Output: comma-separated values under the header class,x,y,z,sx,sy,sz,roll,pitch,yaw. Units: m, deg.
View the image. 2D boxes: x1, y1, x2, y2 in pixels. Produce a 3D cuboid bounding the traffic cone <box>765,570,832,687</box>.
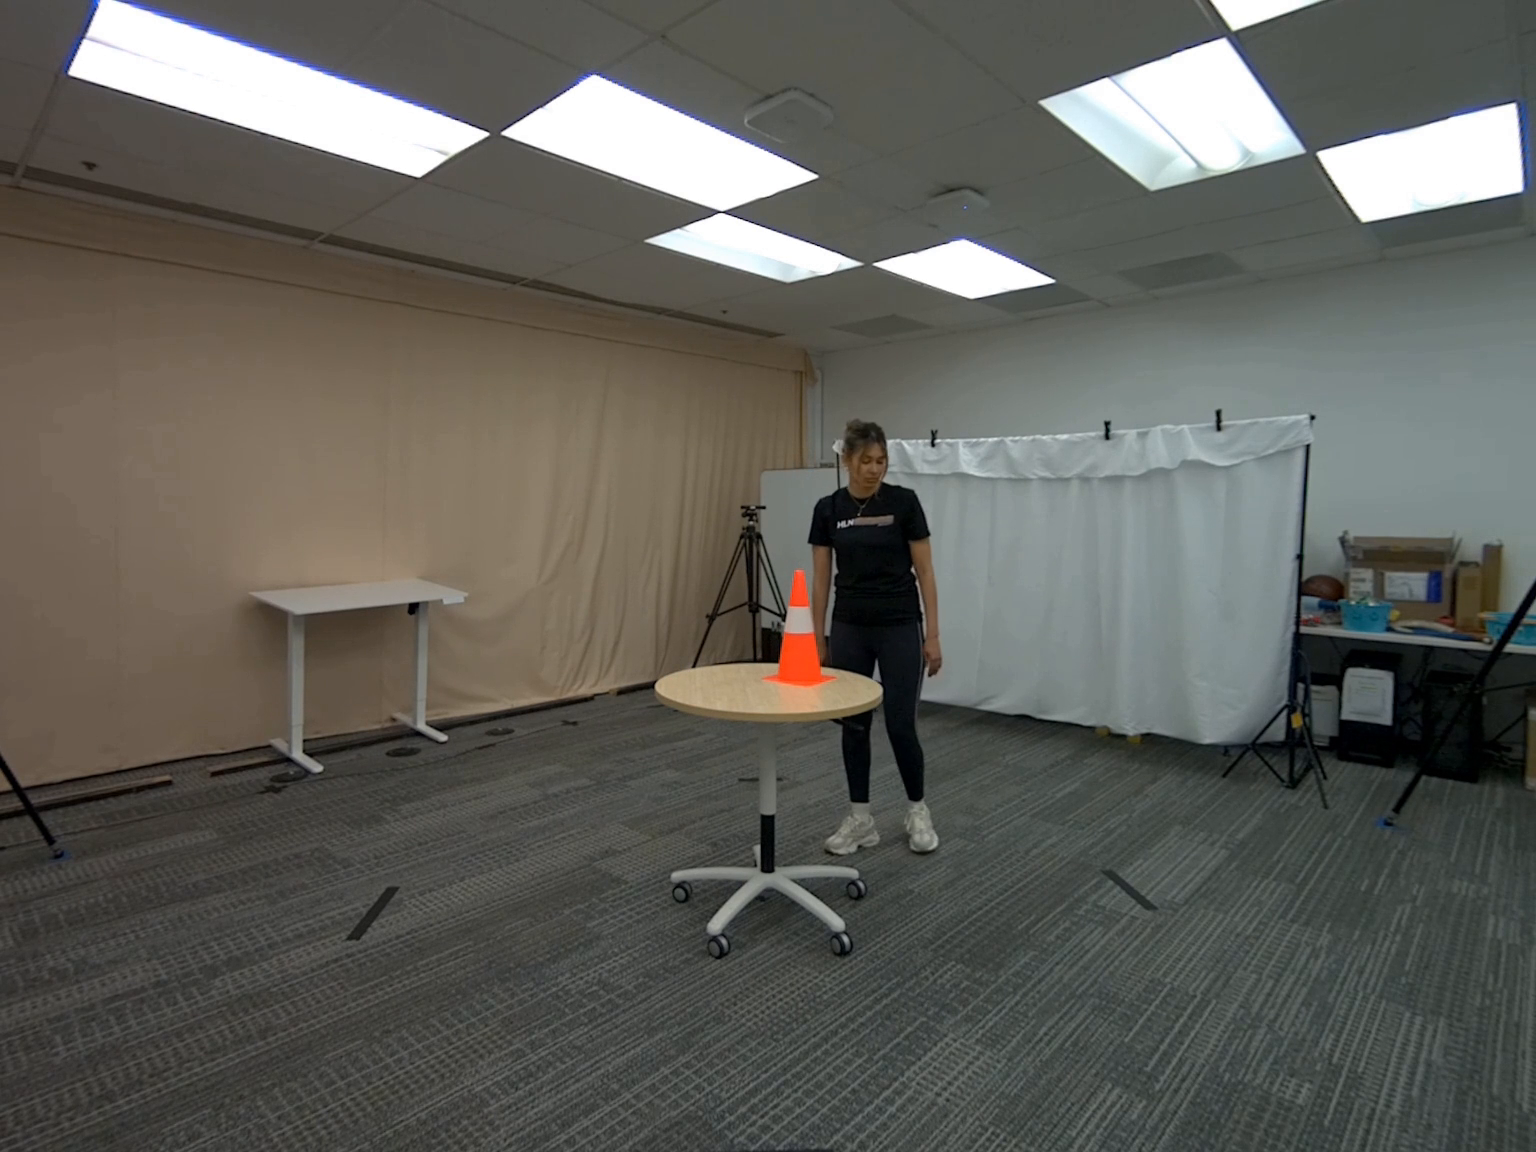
class,x,y,z,sx,sy,sz,roll,pitch,yaw
traffic cone,0.123,0.175,2.955,0.210,0.383,0.199,3,3,36
